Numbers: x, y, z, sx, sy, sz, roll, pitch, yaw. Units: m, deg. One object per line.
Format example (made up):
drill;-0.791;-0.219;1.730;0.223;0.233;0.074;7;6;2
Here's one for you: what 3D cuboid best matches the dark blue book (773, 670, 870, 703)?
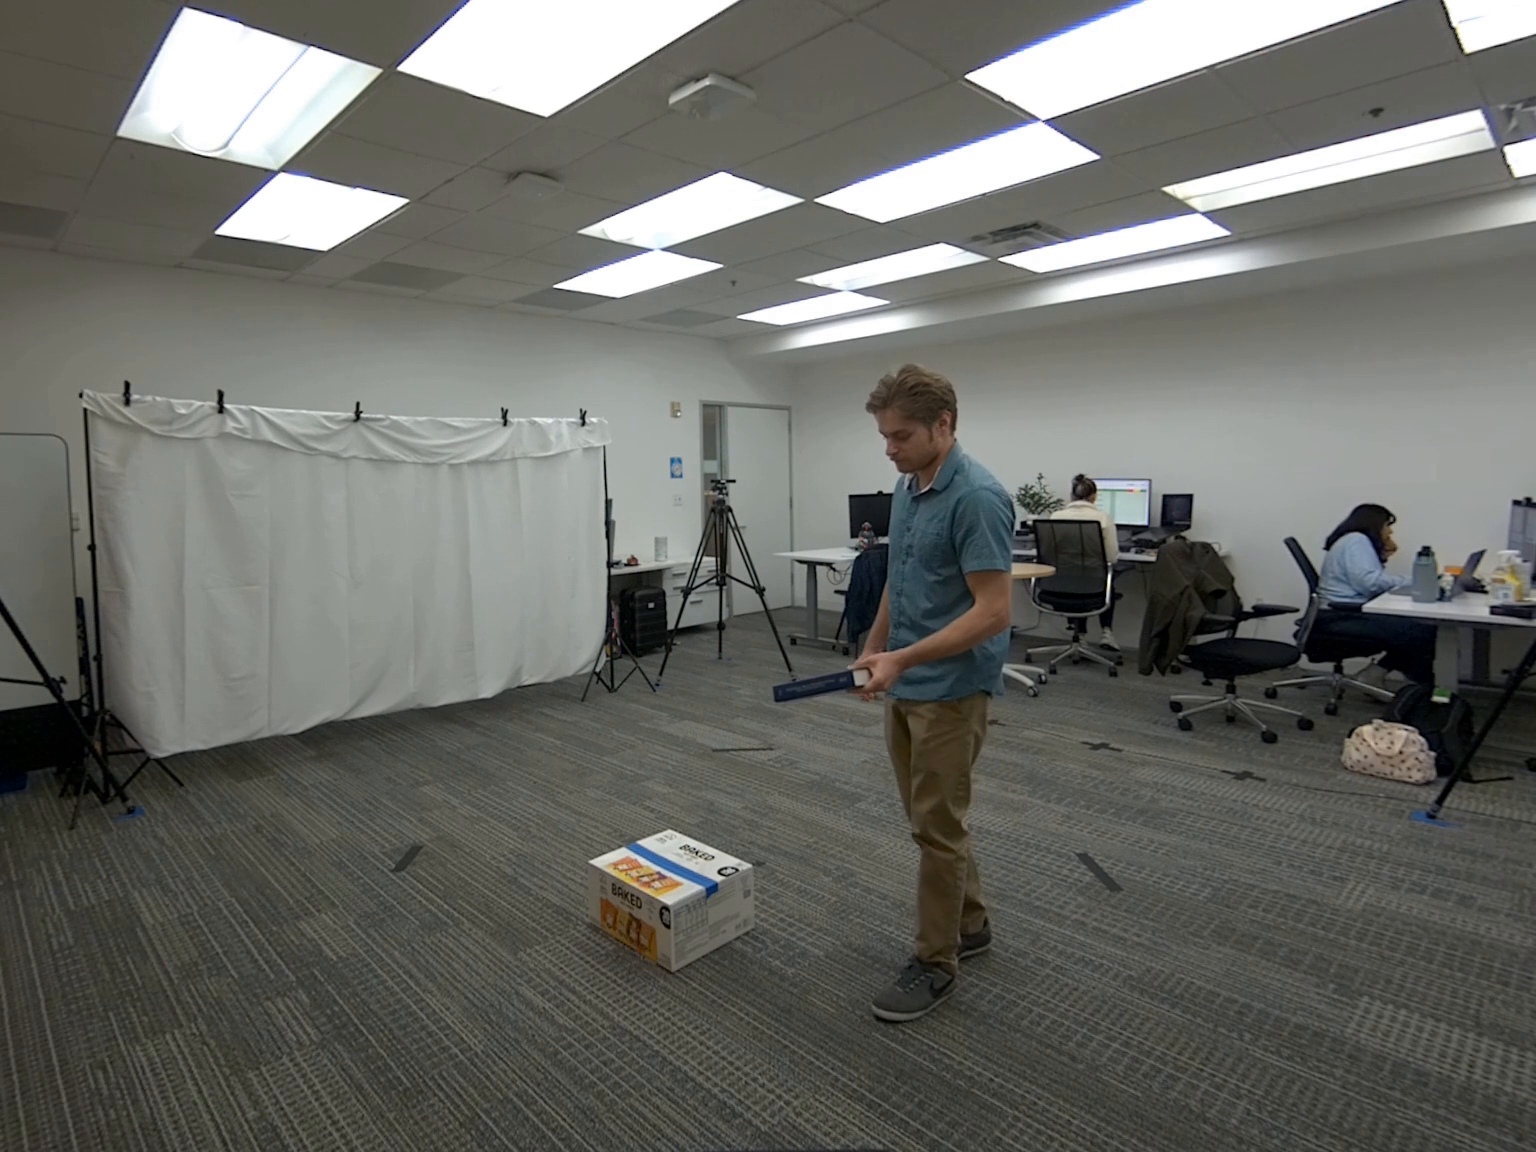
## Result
dark blue book;0.173;0.278;2.146;0.249;0.046;0.158;-18;-13;34
